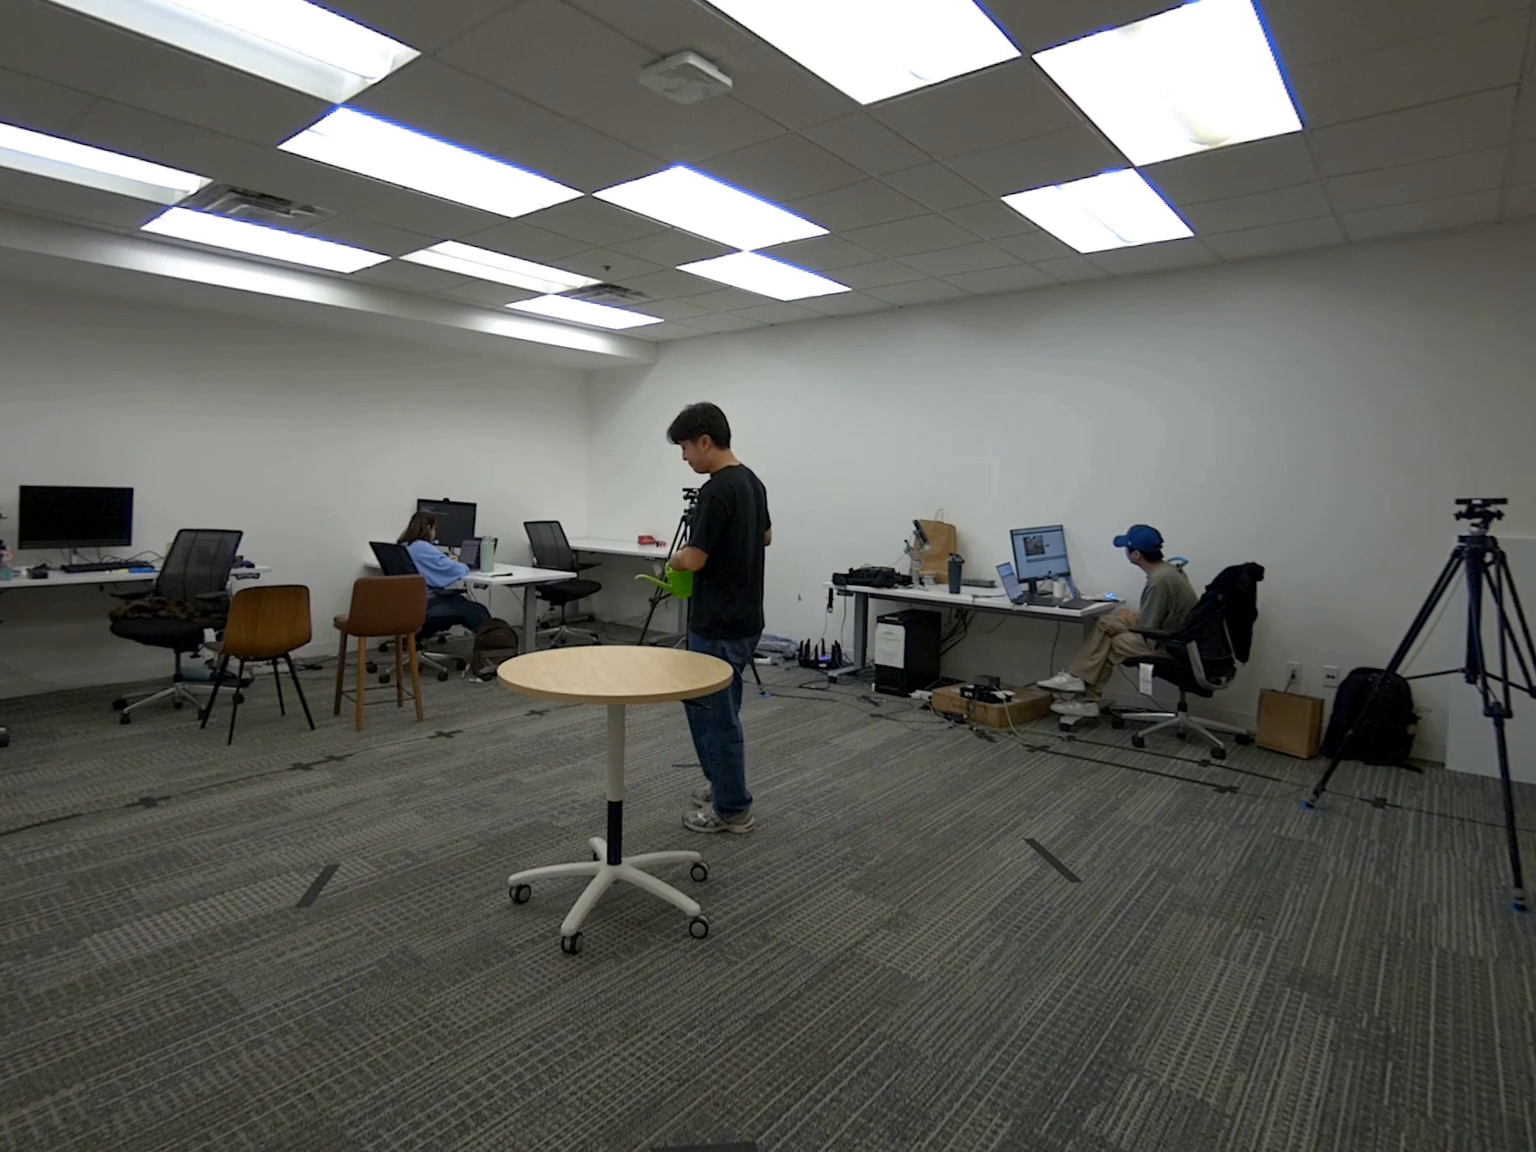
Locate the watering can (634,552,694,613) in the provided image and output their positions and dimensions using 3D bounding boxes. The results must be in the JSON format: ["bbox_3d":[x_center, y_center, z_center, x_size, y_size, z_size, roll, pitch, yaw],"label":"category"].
[{"bbox_3d":[-0.414,0.010,3.628,0.279,0.173,0.100,-21,17,3],"label":"watering can"}]
